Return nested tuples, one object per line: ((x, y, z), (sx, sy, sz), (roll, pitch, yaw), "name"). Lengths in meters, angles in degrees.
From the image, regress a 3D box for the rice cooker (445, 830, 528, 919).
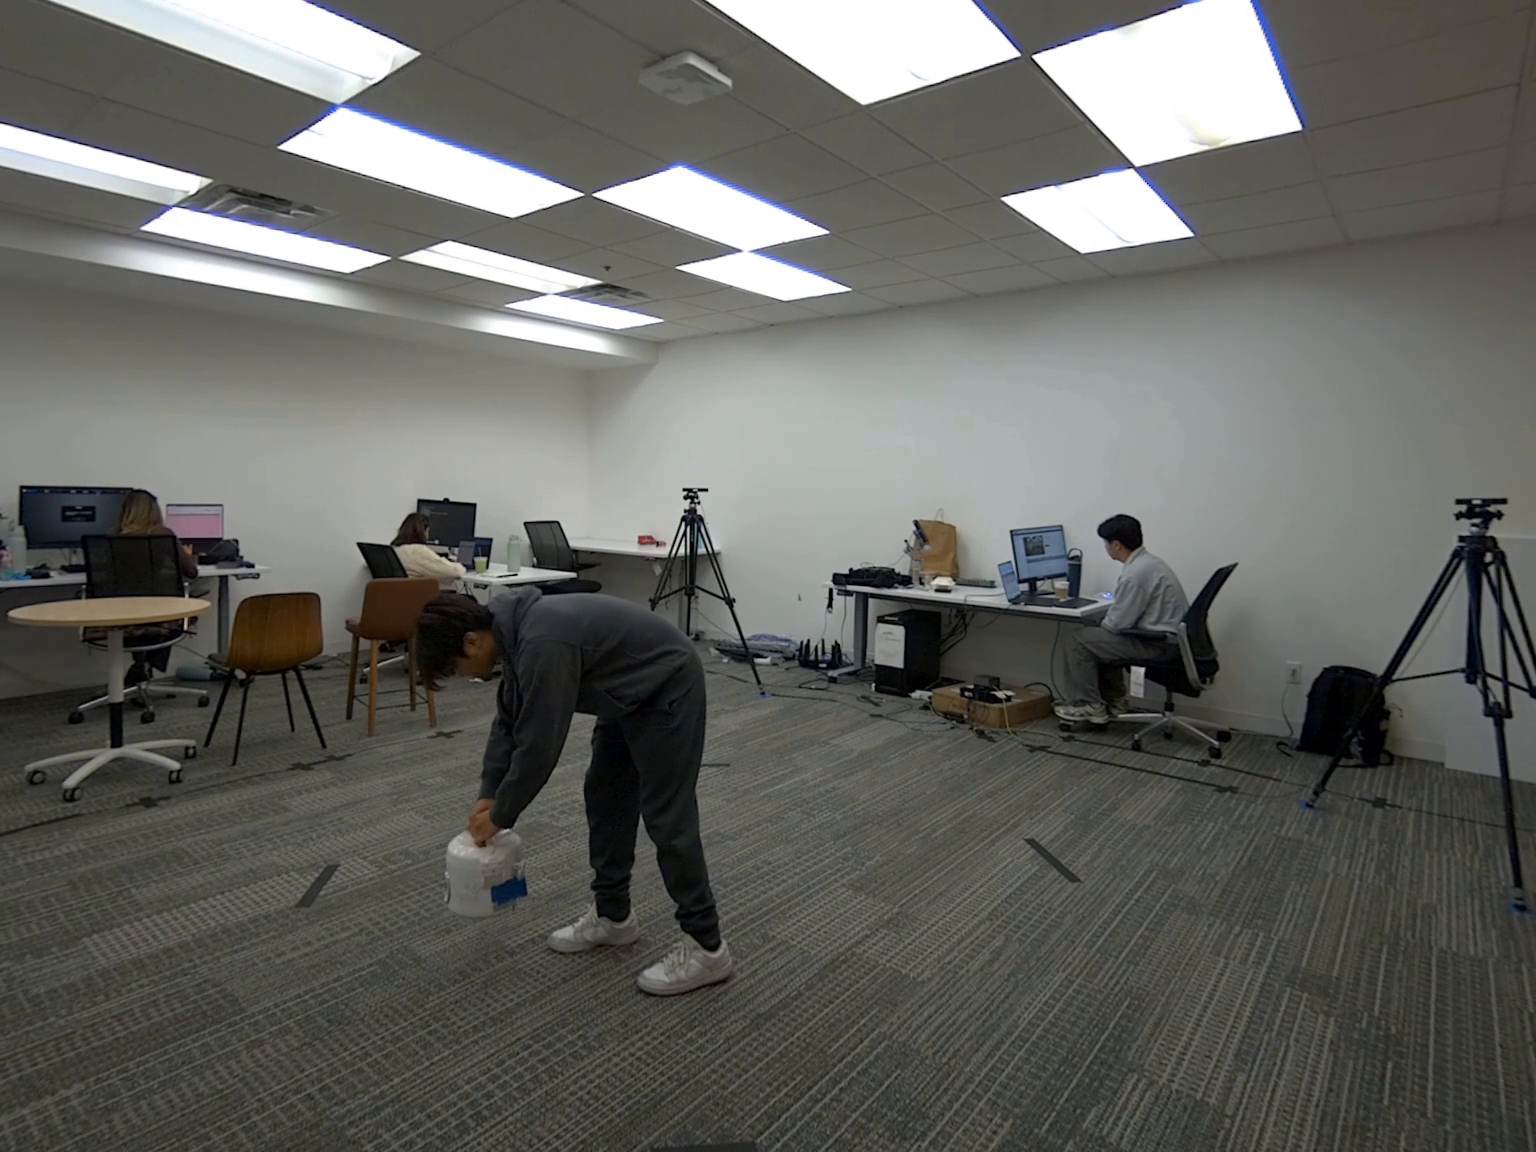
((-0.837, 0.850, 2.460), (0.212, 0.232, 0.227), (-2, 6, -27), "rice cooker")
